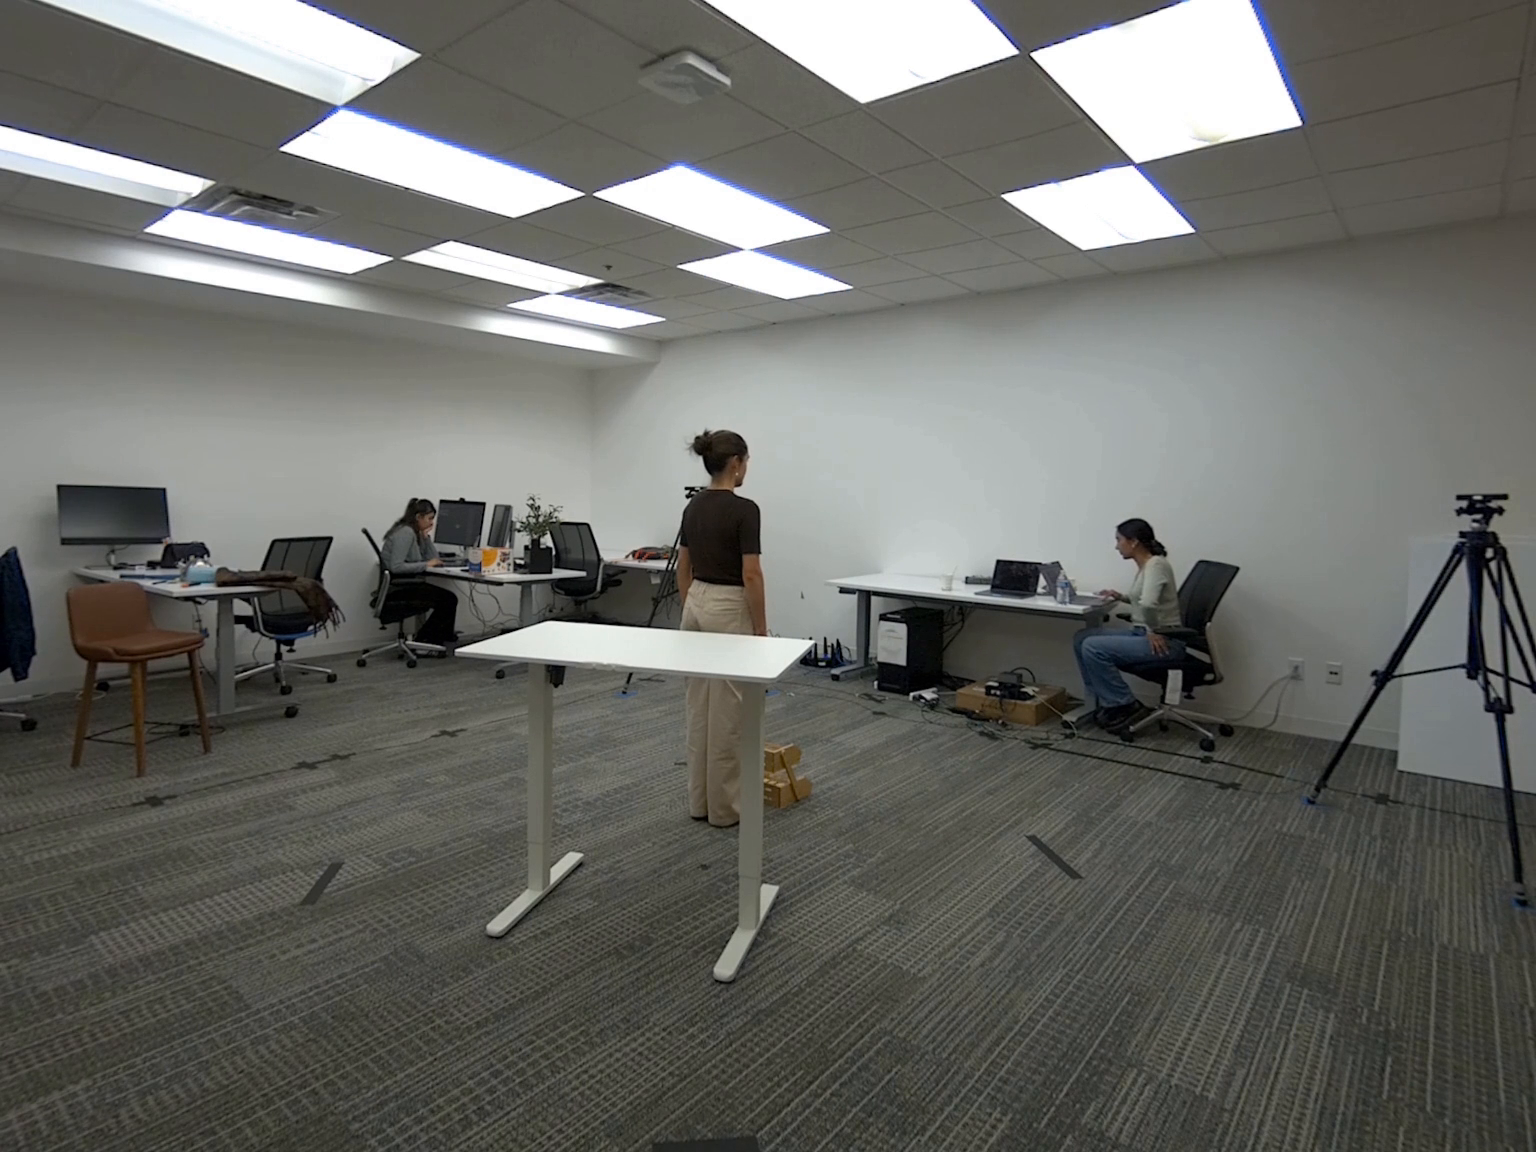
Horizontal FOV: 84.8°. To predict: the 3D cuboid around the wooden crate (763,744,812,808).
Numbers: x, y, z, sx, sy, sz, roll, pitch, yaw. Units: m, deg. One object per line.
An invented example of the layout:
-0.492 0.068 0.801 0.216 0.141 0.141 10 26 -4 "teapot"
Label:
-0.011 0.862 3.878 0.335 0.272 0.293 4 7 39 "wooden crate"
